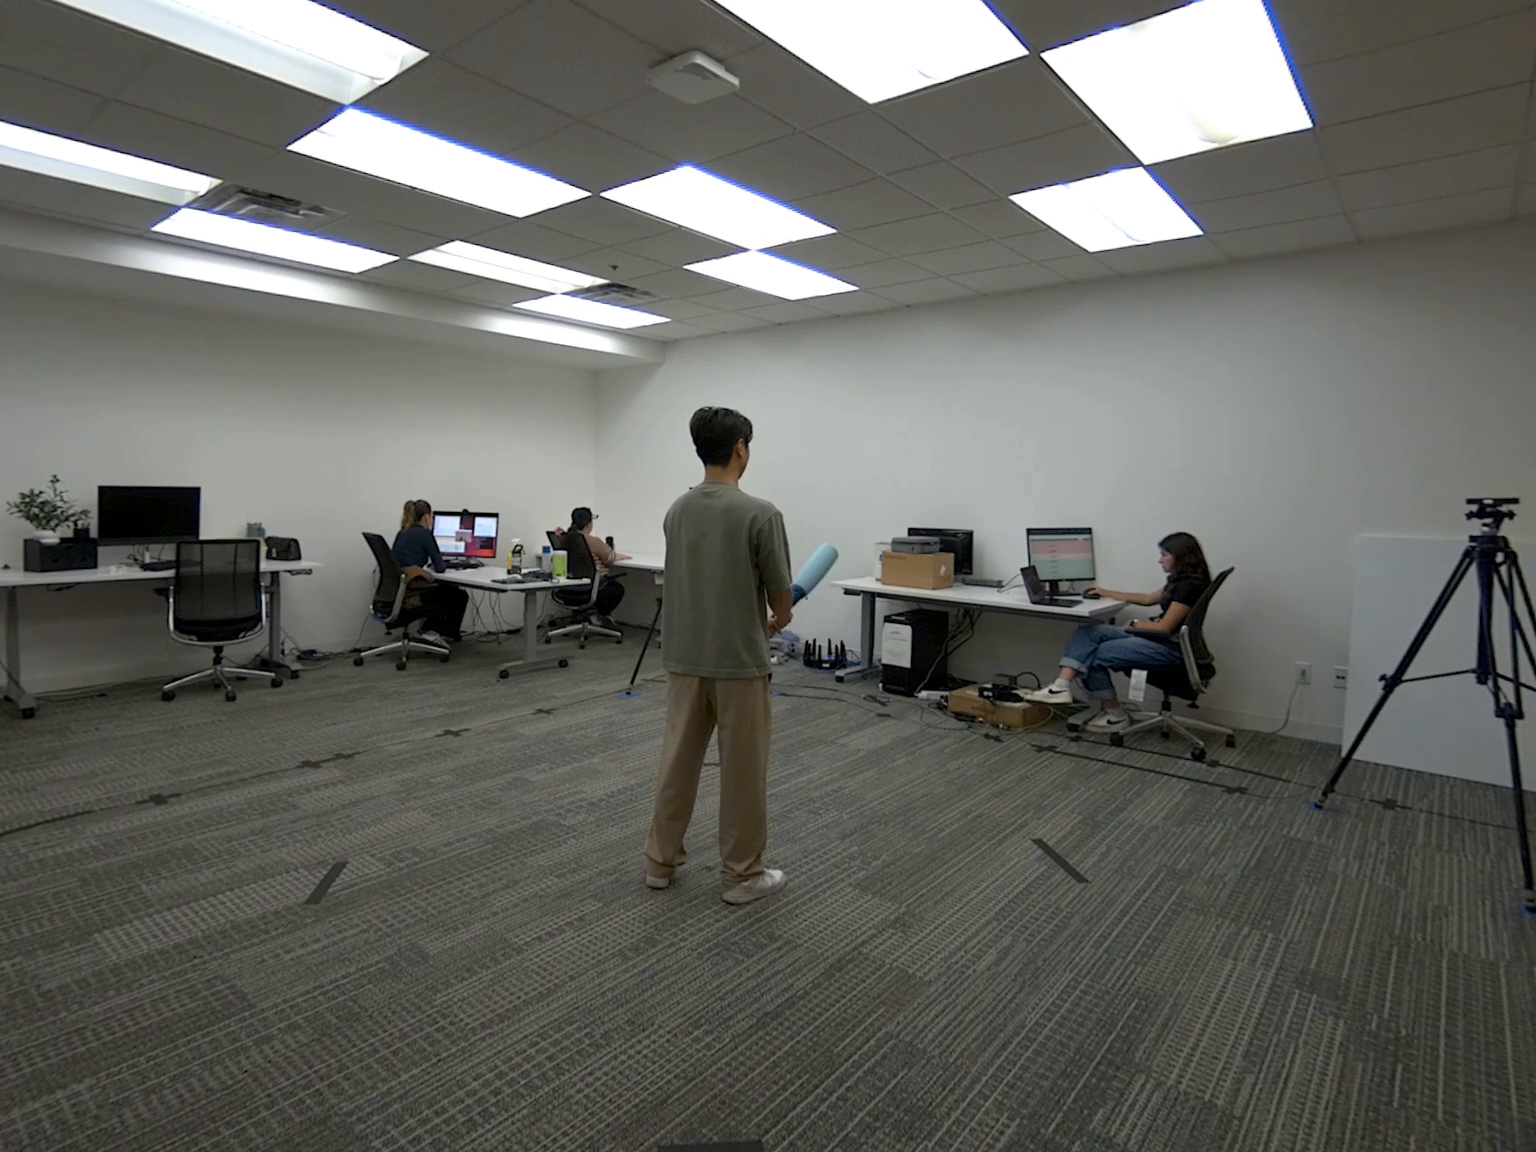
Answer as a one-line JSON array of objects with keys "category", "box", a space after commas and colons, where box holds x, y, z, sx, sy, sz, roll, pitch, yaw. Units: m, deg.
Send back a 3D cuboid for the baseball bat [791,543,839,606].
[{"category": "baseball bat", "box": [0.099, 0.071, 3.234, 0.092, 0.086, 0.543, 4, 44, 43]}]
